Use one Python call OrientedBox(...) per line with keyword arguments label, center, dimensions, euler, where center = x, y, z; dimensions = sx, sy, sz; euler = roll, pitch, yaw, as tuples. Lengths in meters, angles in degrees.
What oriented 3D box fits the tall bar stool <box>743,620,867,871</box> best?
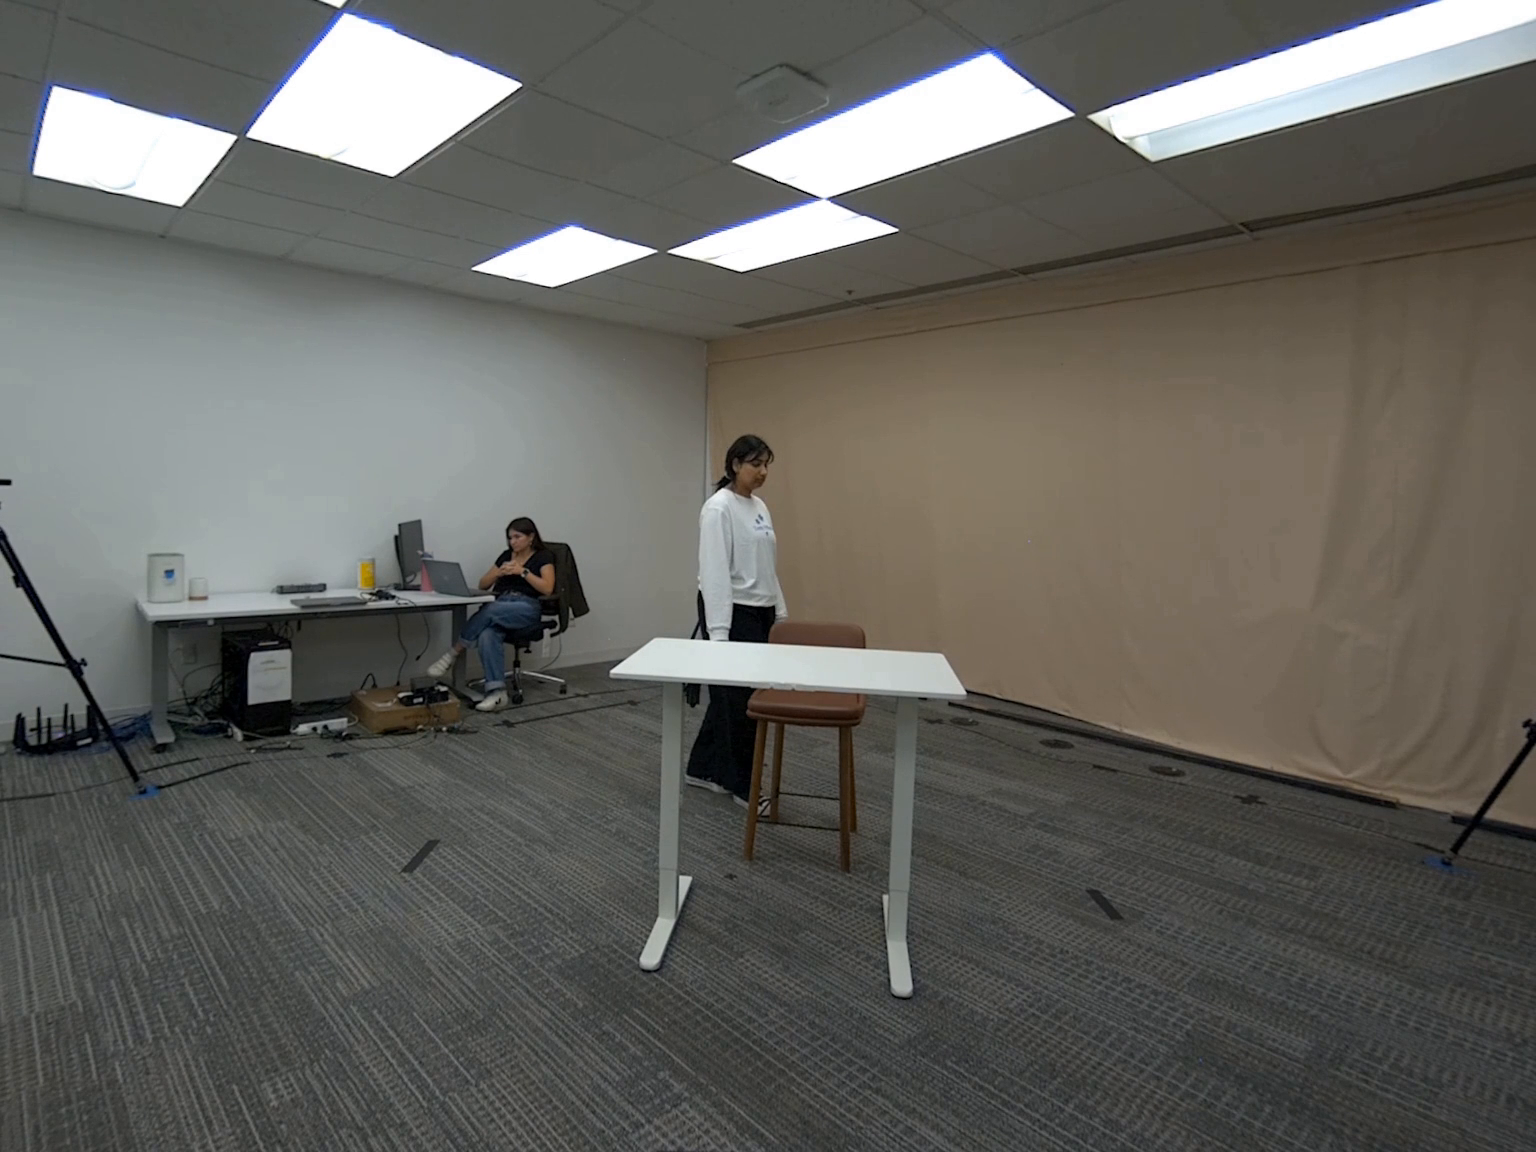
OrientedBox(label="tall bar stool", center=(0.159, 0.656, 3.401), dimensions=(0.462, 0.889, 0.462), euler=(2, 1, 14))
